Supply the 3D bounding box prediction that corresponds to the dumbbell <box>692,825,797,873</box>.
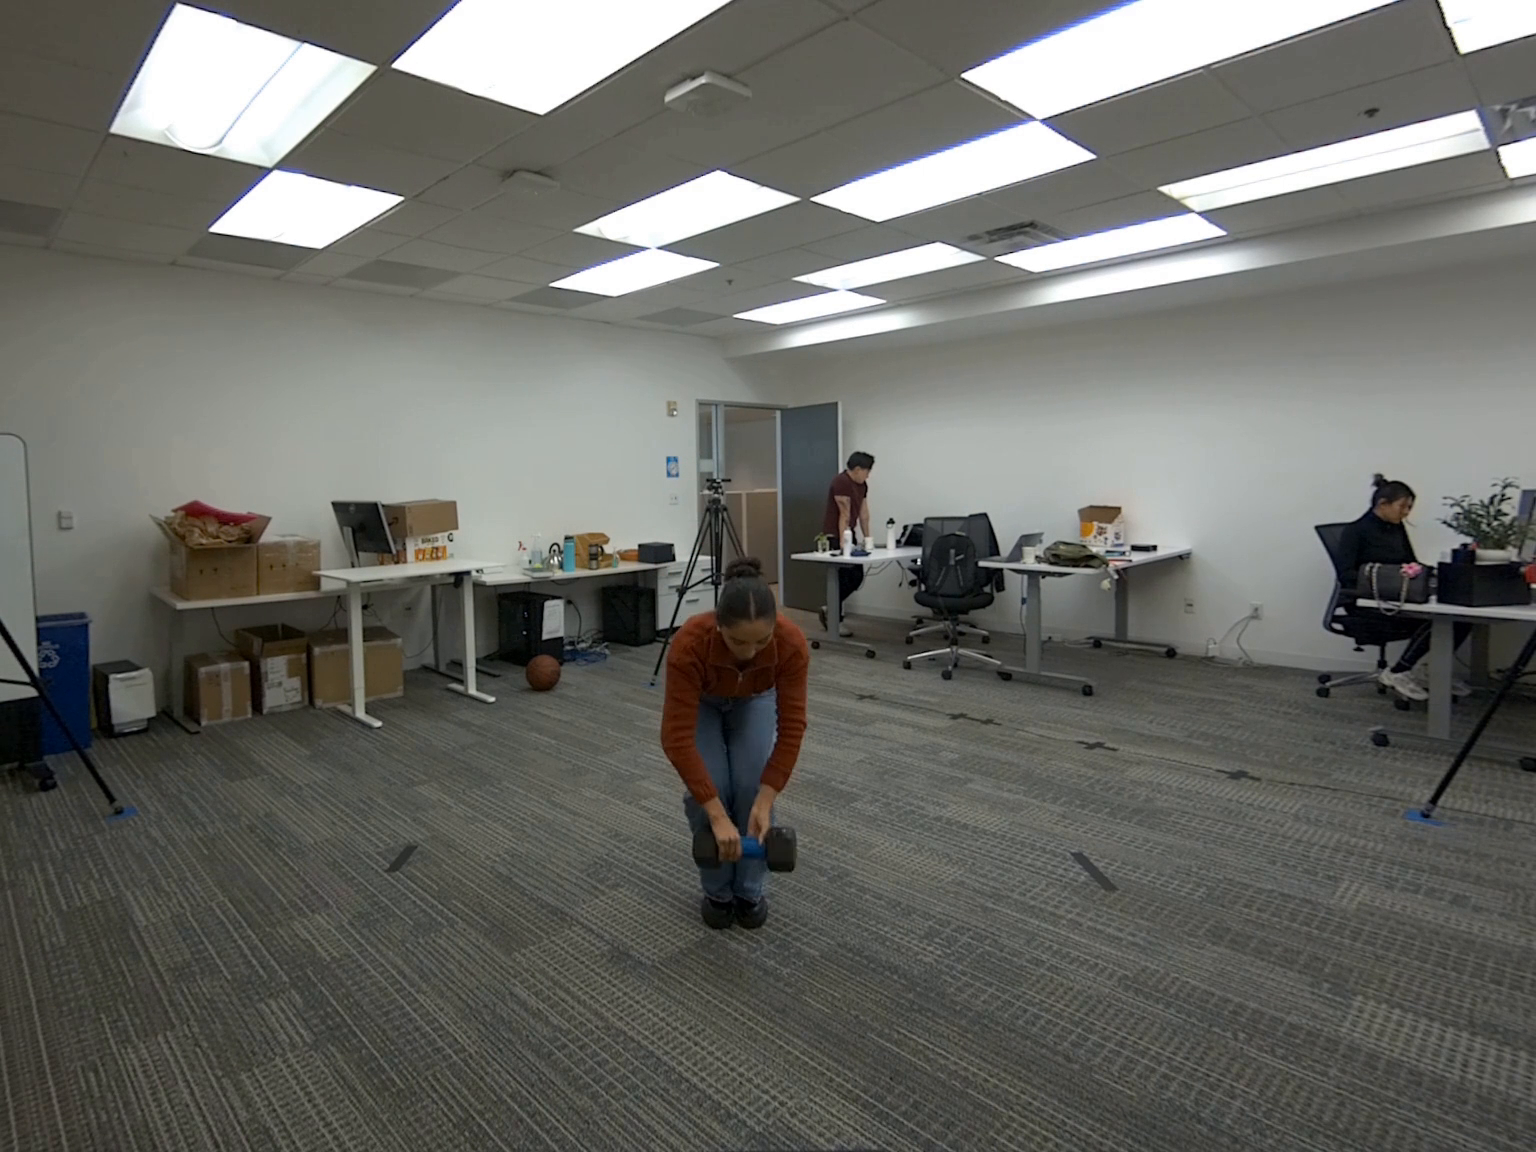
[{"bbox_3d":[-0.066,0.782,2.465,0.297,0.125,0.106,-1,-19,11],"label":"dumbbell"}]
